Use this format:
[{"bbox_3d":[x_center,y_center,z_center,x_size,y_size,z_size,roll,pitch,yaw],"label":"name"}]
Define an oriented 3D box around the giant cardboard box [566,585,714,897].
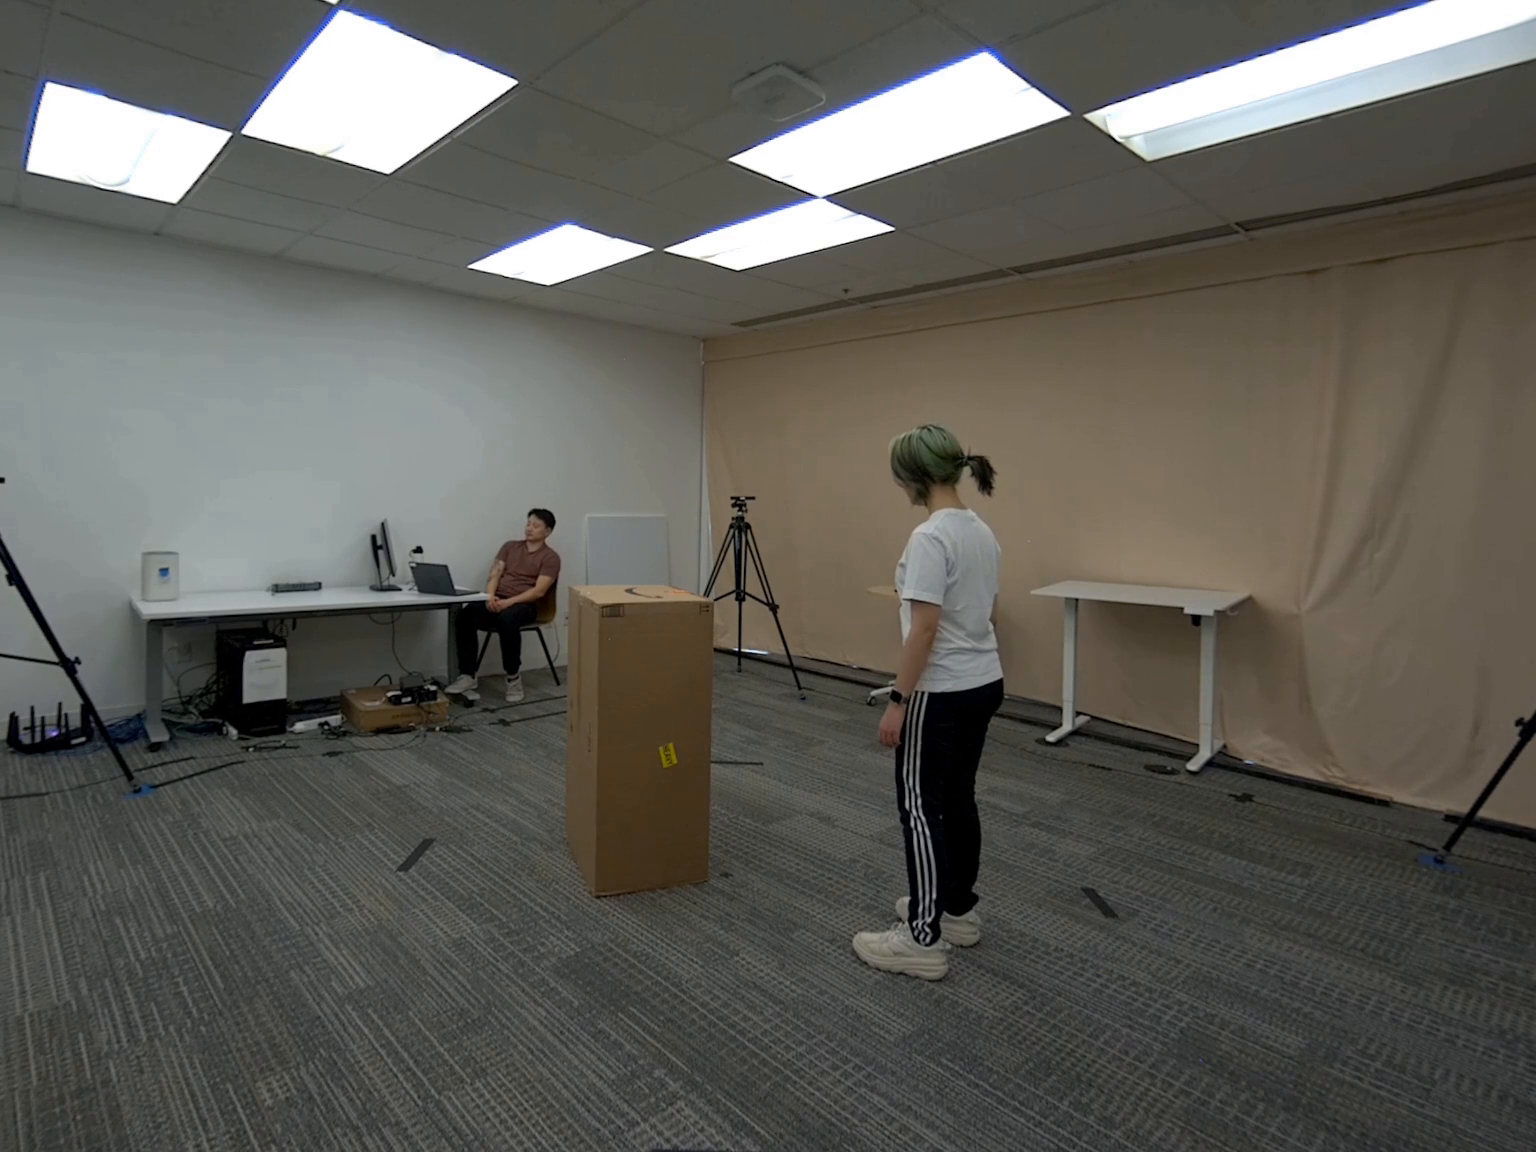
[{"bbox_3d":[-0.516,0.578,3.222,0.439,1.025,0.595,-1,3,-24],"label":"giant cardboard box"}]
